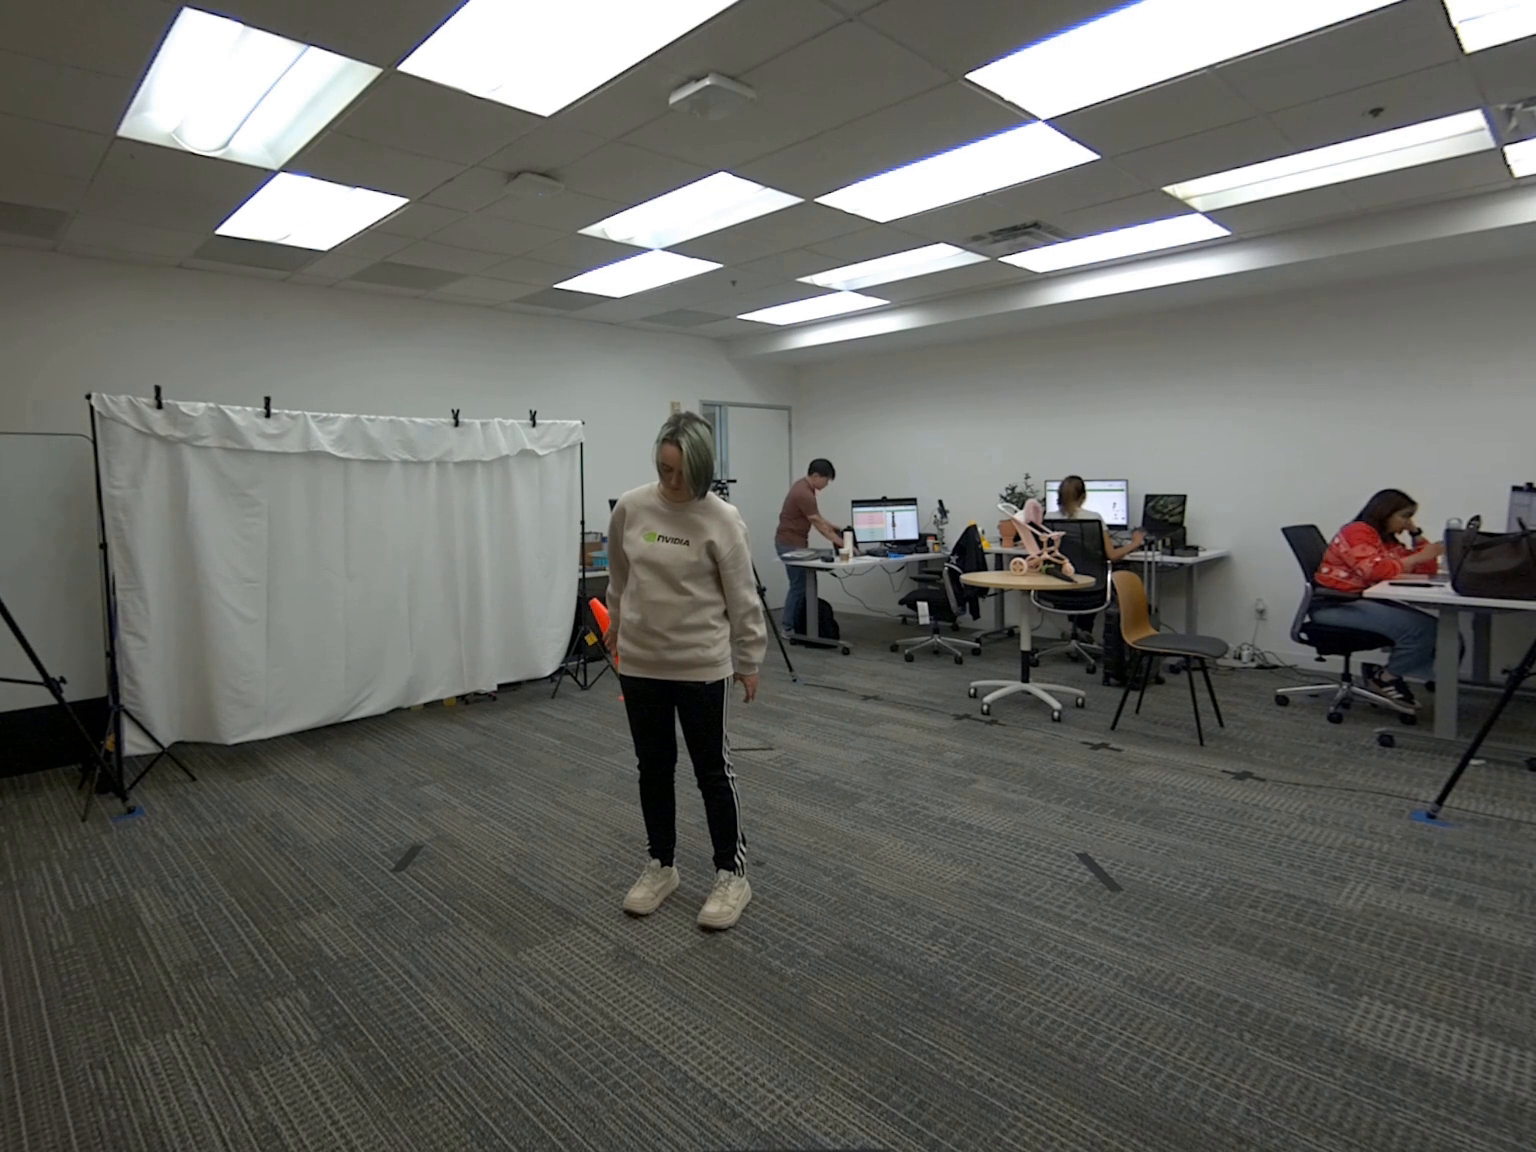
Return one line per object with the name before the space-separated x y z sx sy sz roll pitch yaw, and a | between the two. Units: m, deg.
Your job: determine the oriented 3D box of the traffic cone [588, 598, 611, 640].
traffic cone | -0.538 0.251 3.146 0.202 0.379 0.208 -37 11 -35
